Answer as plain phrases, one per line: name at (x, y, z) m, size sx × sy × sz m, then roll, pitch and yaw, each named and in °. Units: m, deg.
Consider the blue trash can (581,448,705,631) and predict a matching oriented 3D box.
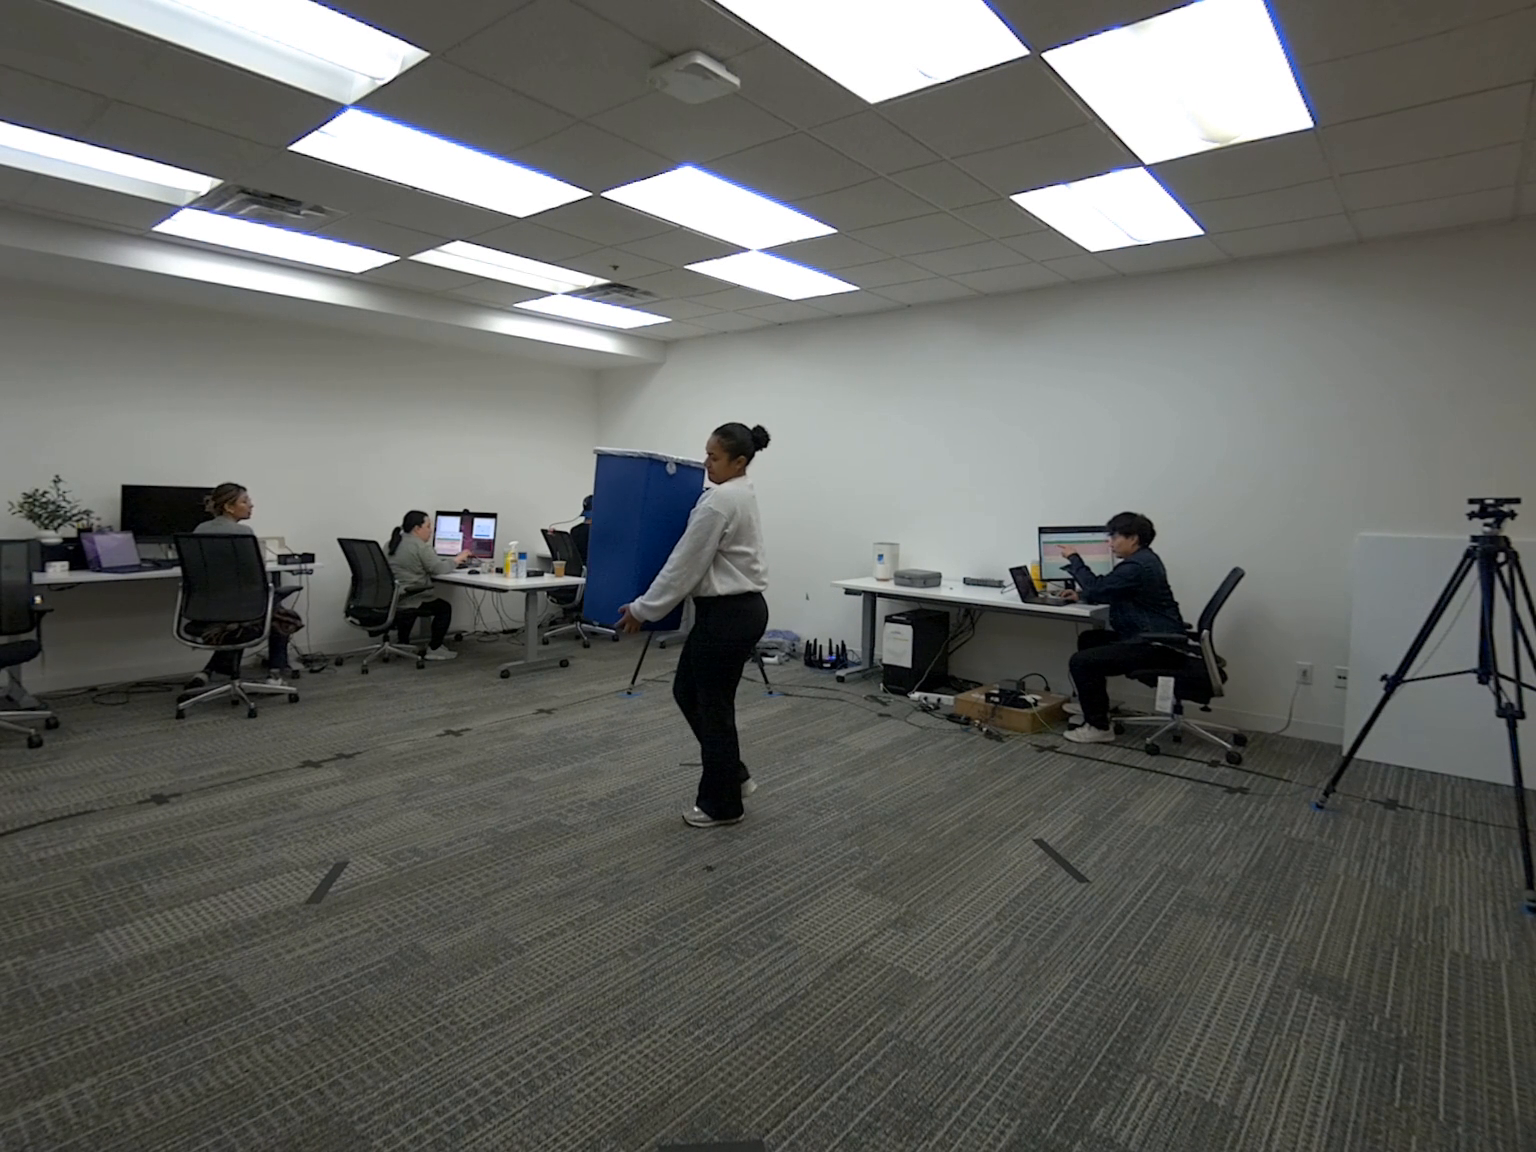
blue trash can at (-0.544, -0.158, 3.580) m, size 0.392 × 0.712 × 0.361 m, roll 10°, pitch 4°, yaw 41°
